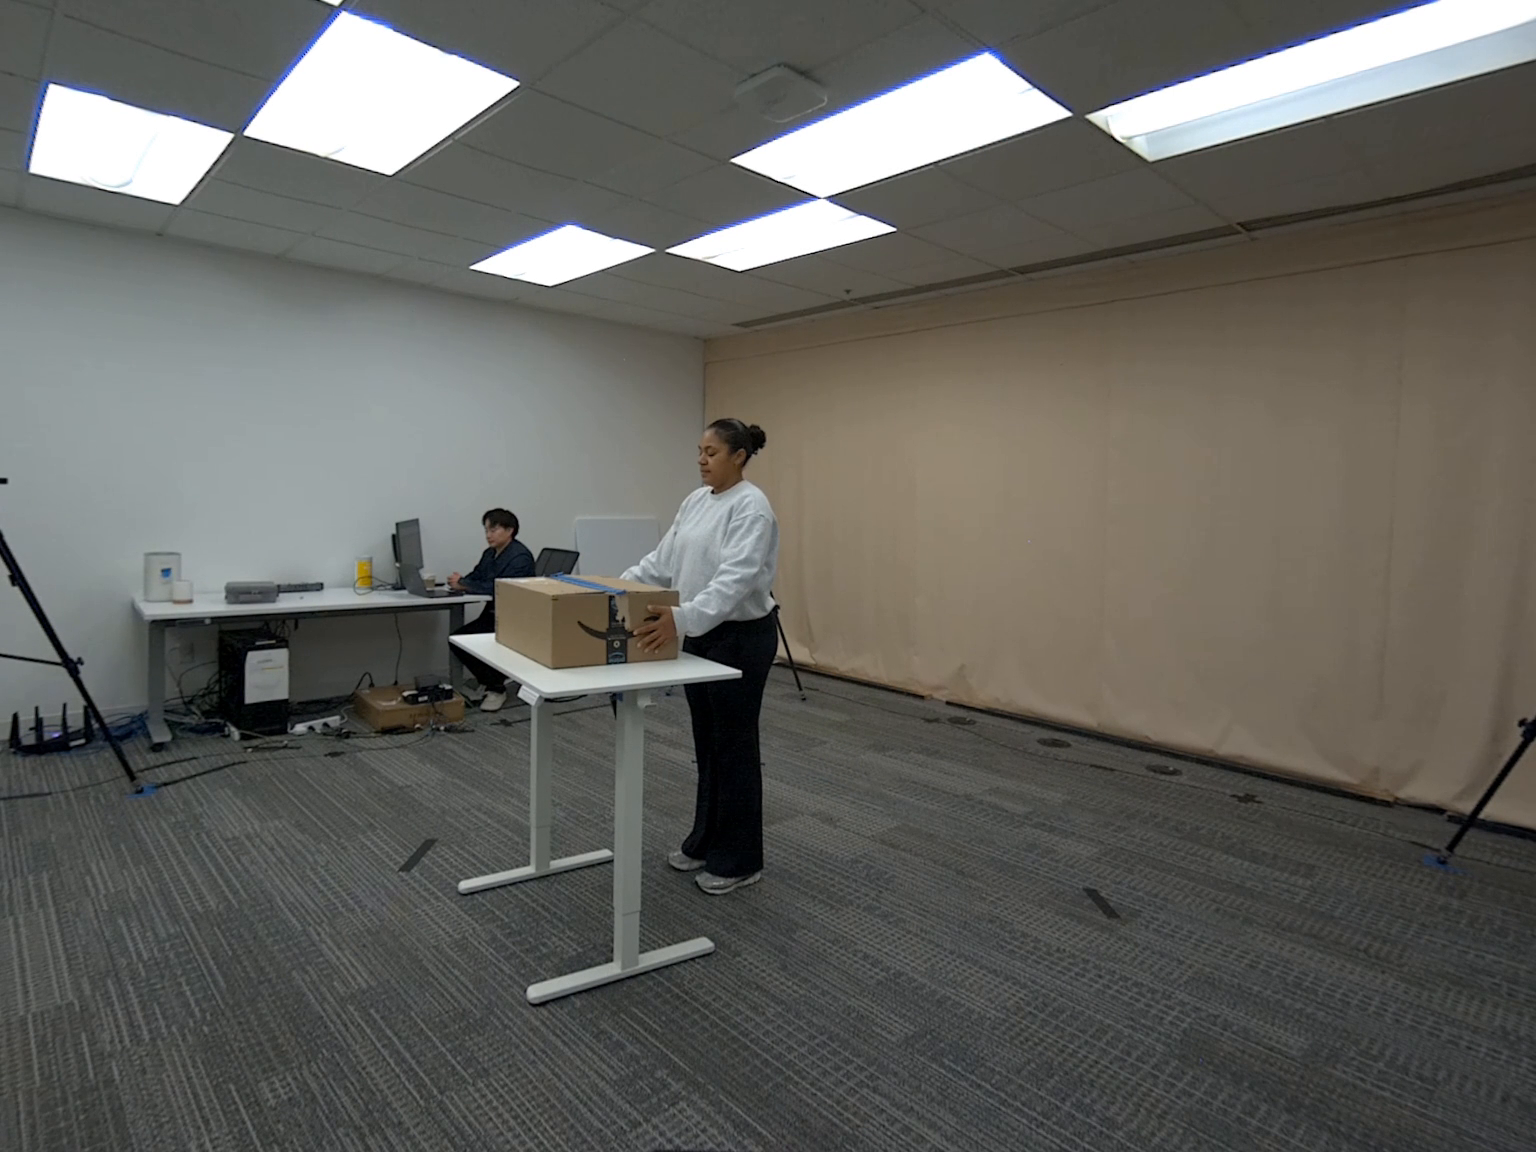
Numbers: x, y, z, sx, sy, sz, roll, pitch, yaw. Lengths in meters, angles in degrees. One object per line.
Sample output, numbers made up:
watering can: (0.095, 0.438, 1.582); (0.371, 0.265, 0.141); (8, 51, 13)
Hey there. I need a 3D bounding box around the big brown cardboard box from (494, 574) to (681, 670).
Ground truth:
big brown cardboard box: (-0.619, 0.137, 2.762); (0.409, 0.232, 0.603); (-1, 6, -33)
